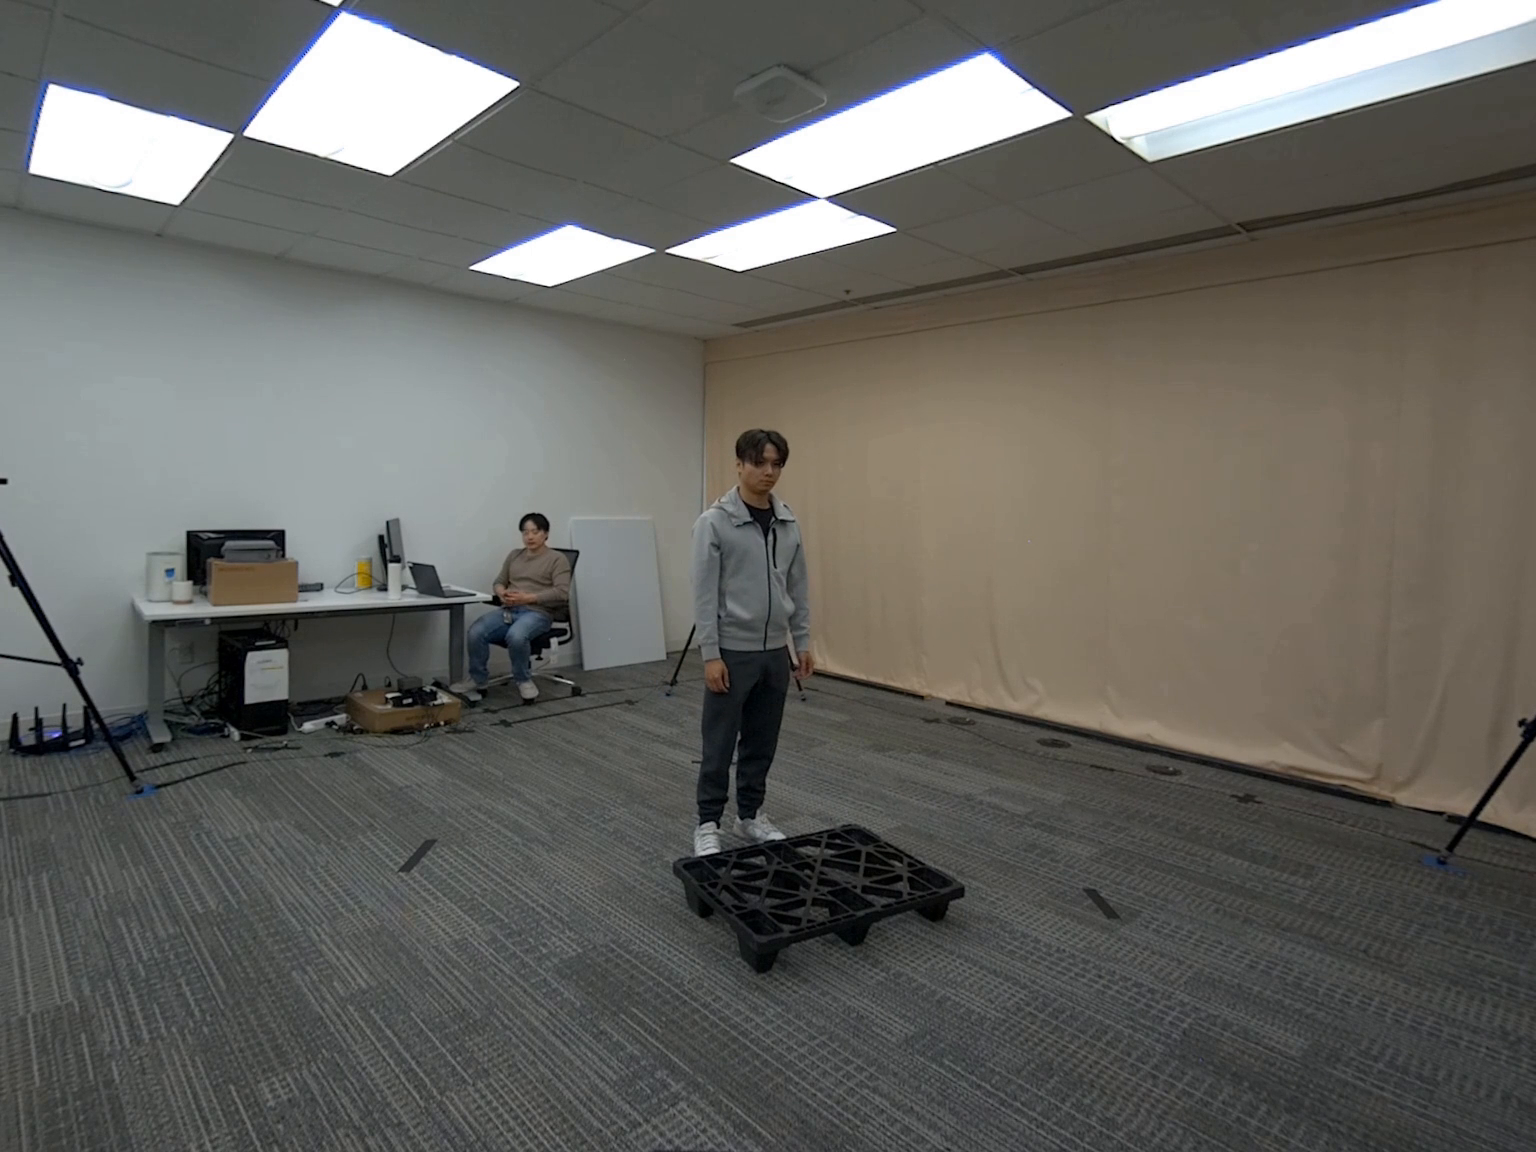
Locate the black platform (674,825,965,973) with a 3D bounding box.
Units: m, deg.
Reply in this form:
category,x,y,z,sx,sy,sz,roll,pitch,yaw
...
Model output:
category,x,y,z,sx,sy,sz,roll,pitch,yaw
black platform,0.147,1.072,2.842,0.789,0.143,0.619,-2,5,-30
